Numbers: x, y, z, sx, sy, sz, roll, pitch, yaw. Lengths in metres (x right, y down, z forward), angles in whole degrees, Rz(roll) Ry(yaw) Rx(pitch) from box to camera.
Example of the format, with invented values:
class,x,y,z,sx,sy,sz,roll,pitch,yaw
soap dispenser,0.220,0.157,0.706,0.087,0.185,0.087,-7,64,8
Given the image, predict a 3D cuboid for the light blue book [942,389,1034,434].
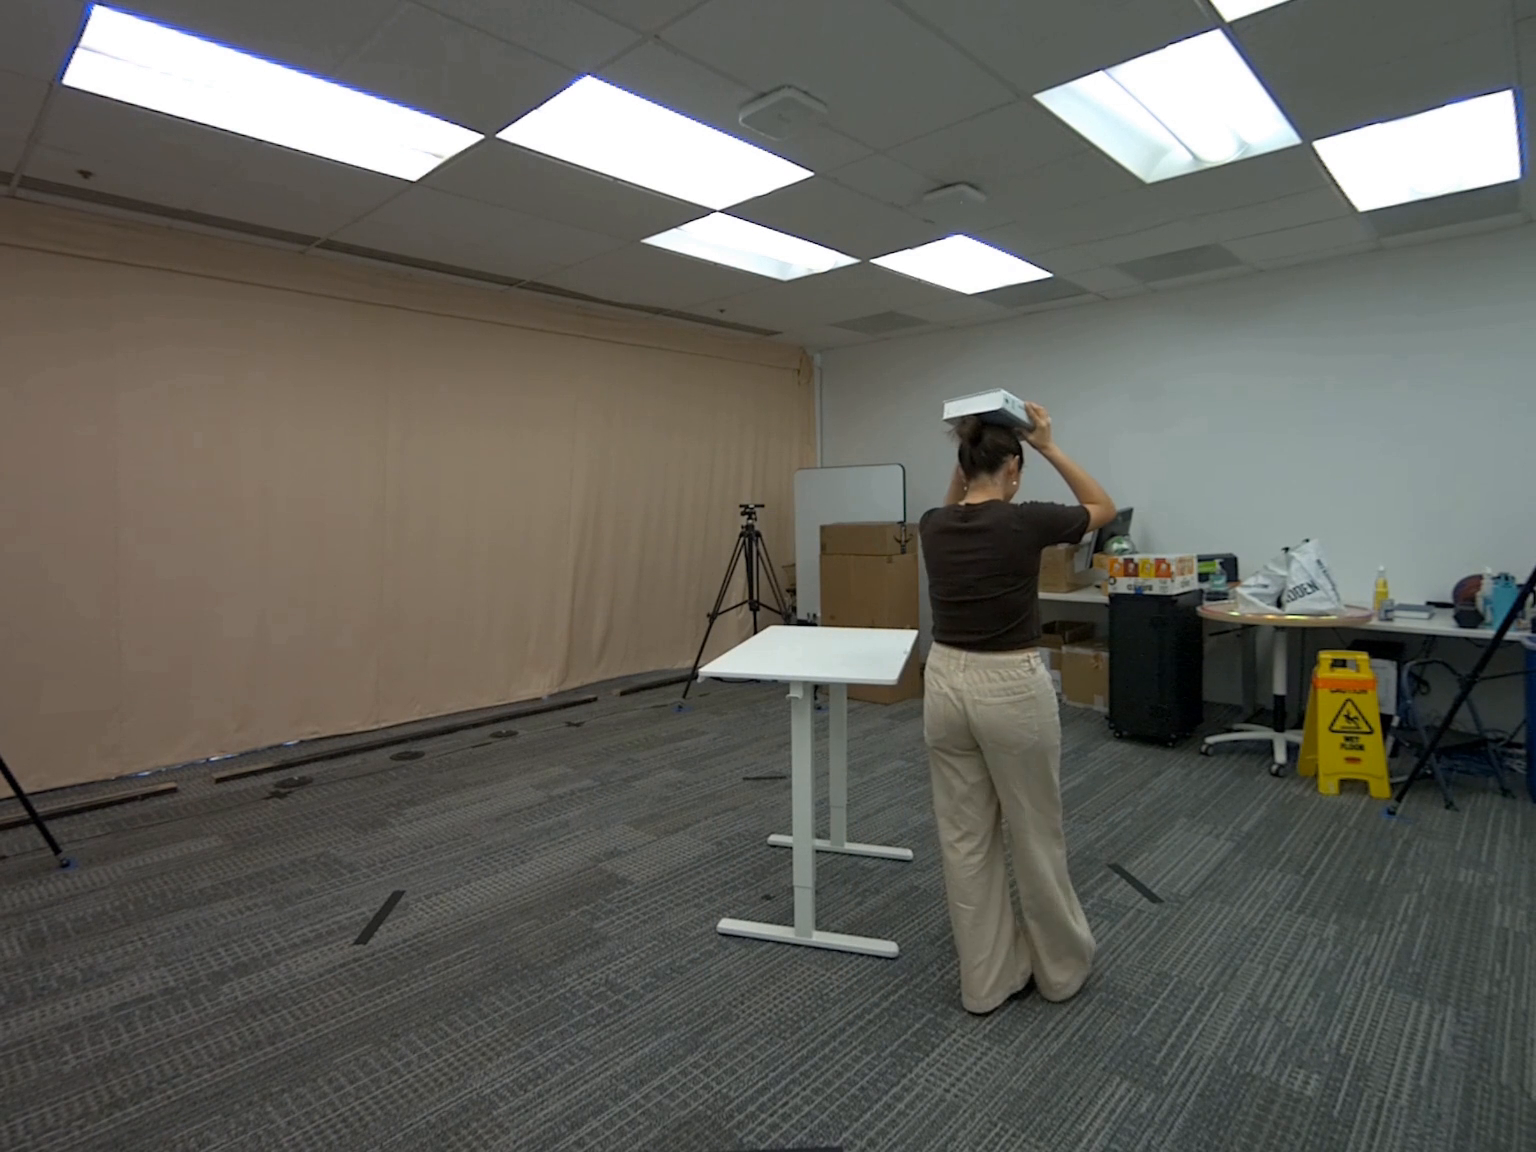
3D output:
class,x,y,z,sx,sy,sz,roll,pitch,yaw
light blue book,0.658,-0.447,2.370,0.252,0.059,0.197,15,-13,-42
